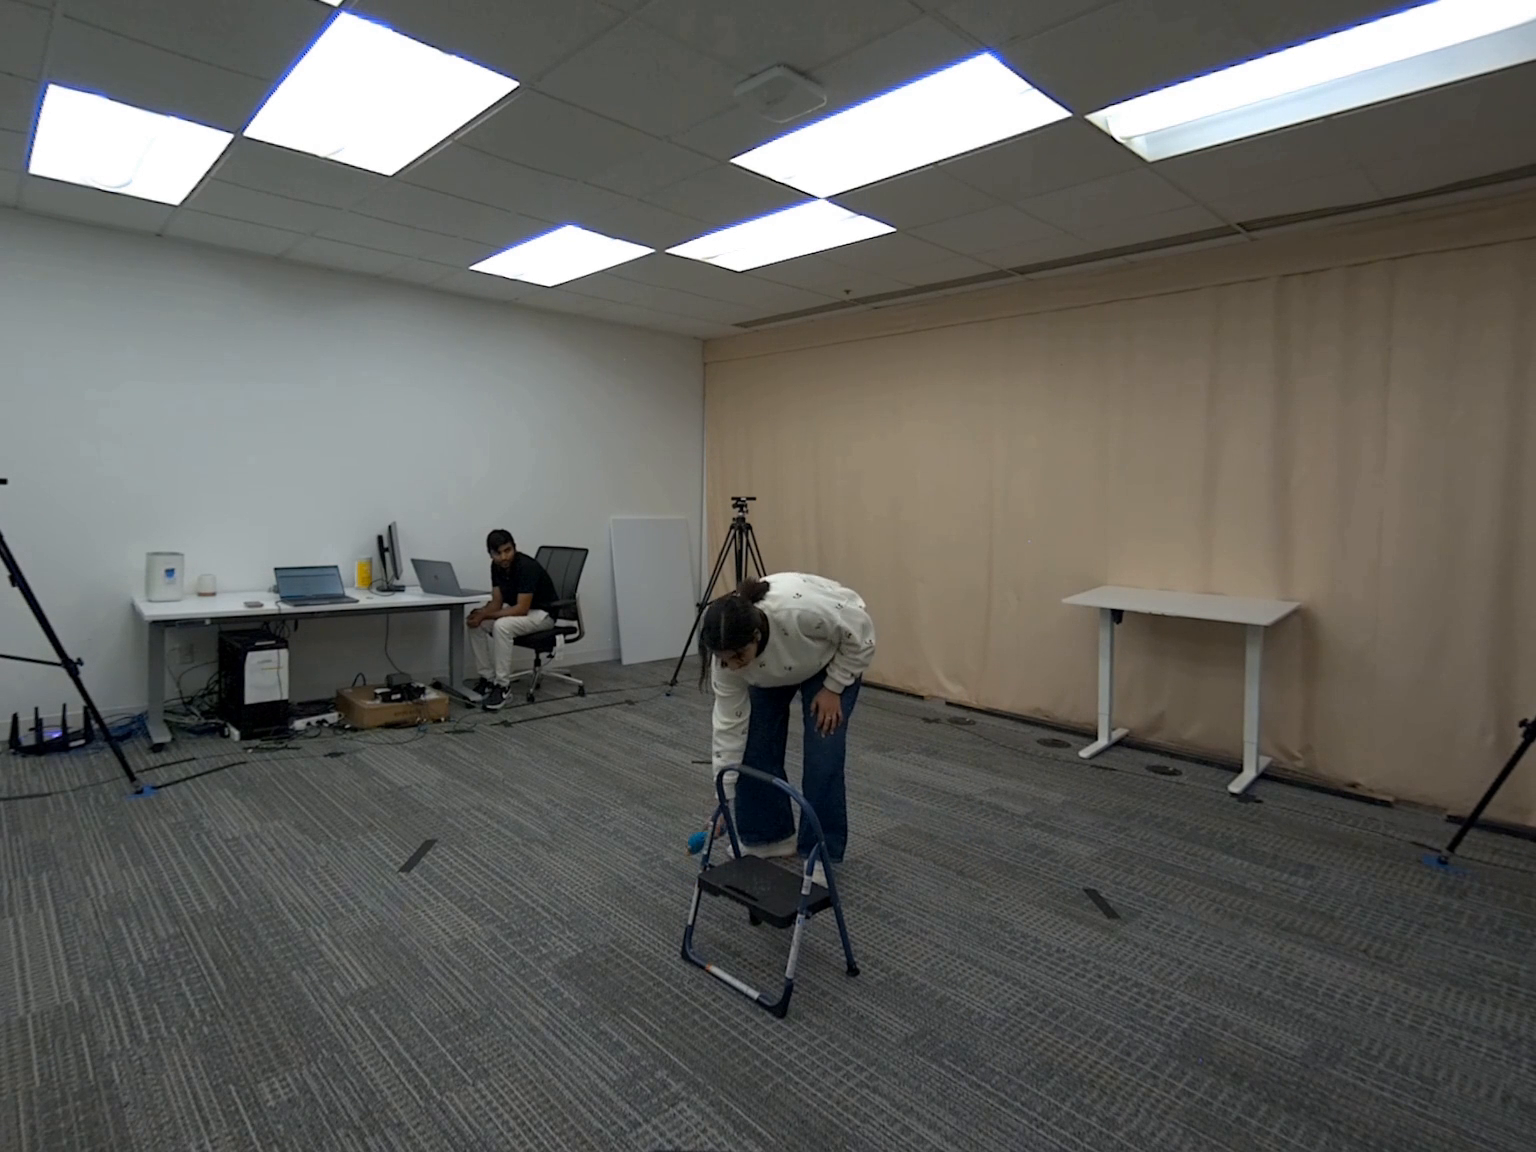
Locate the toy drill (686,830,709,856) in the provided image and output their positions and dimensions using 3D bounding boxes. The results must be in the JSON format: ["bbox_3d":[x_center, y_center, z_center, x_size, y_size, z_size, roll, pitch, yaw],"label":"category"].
[{"bbox_3d":[-0.233,0.960,3.005,0.143,0.063,0.168,0,-39,-31],"label":"toy drill"}]
